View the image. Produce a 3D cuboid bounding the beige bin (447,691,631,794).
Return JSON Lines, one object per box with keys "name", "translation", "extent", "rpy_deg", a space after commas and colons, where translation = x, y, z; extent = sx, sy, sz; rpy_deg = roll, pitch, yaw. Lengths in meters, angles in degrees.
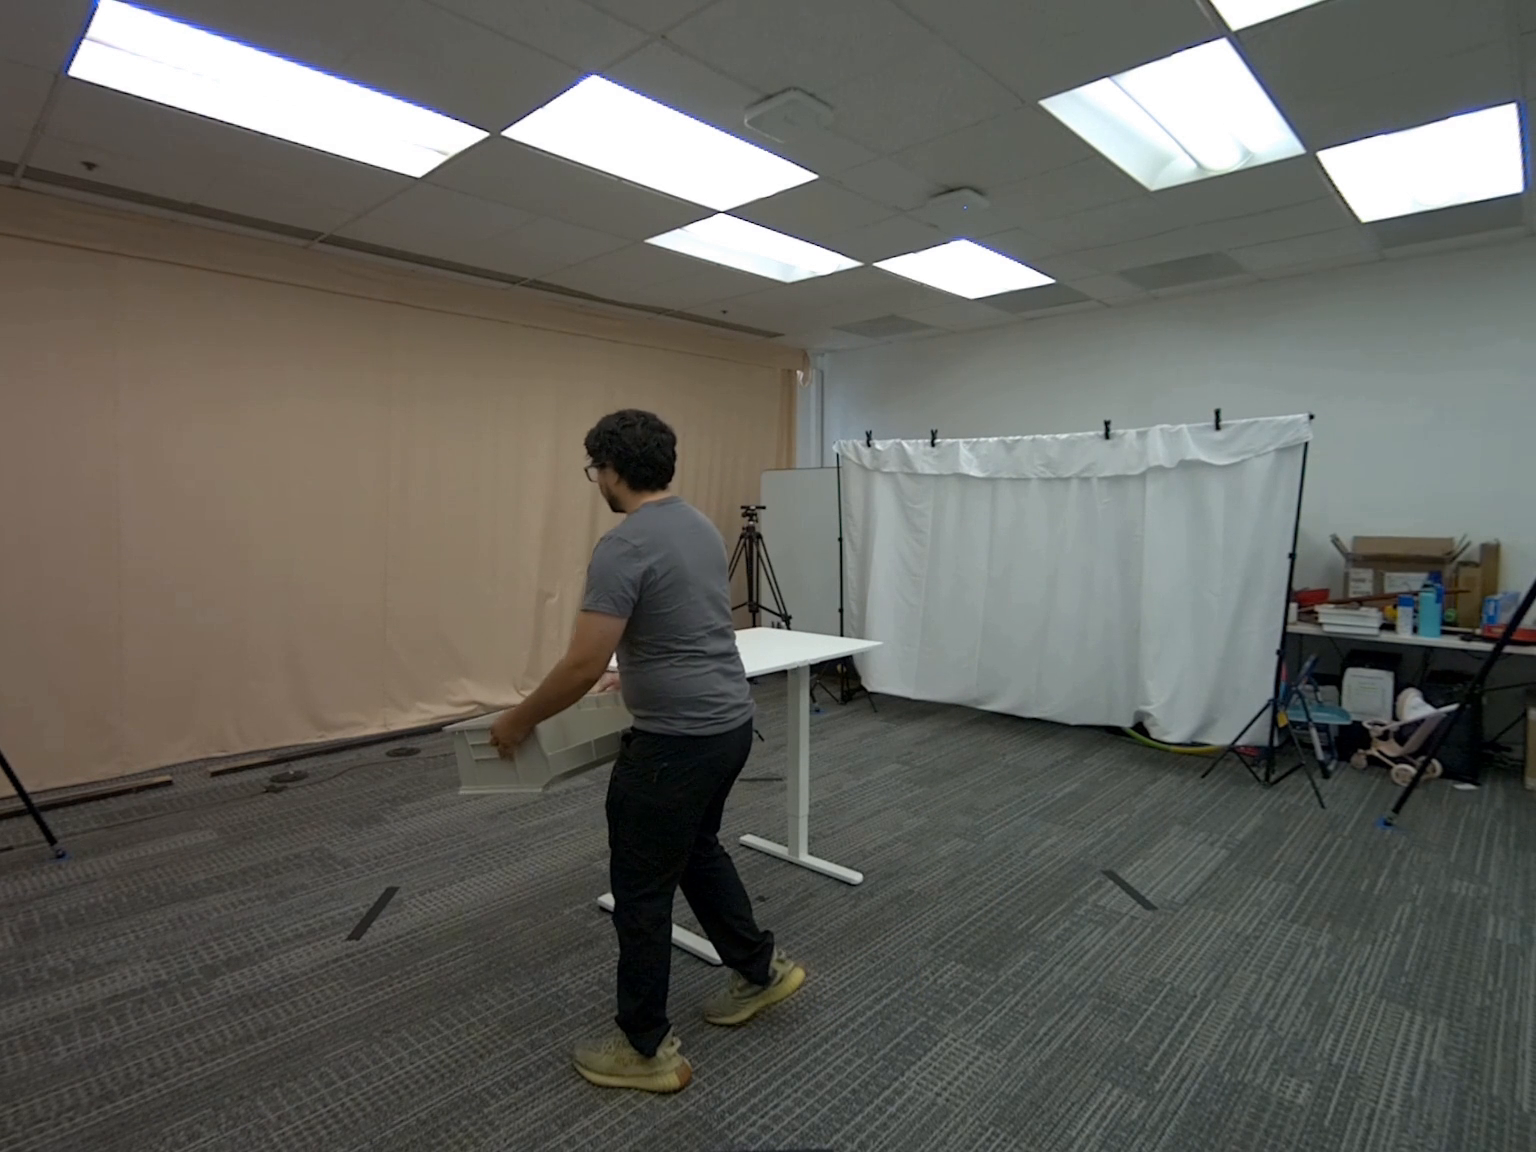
{"name": "beige bin", "translation": [-0.559, 0.448, 2.258], "extent": [0.387, 0.189, 0.411], "rpy_deg": [-12, -2, 33]}
